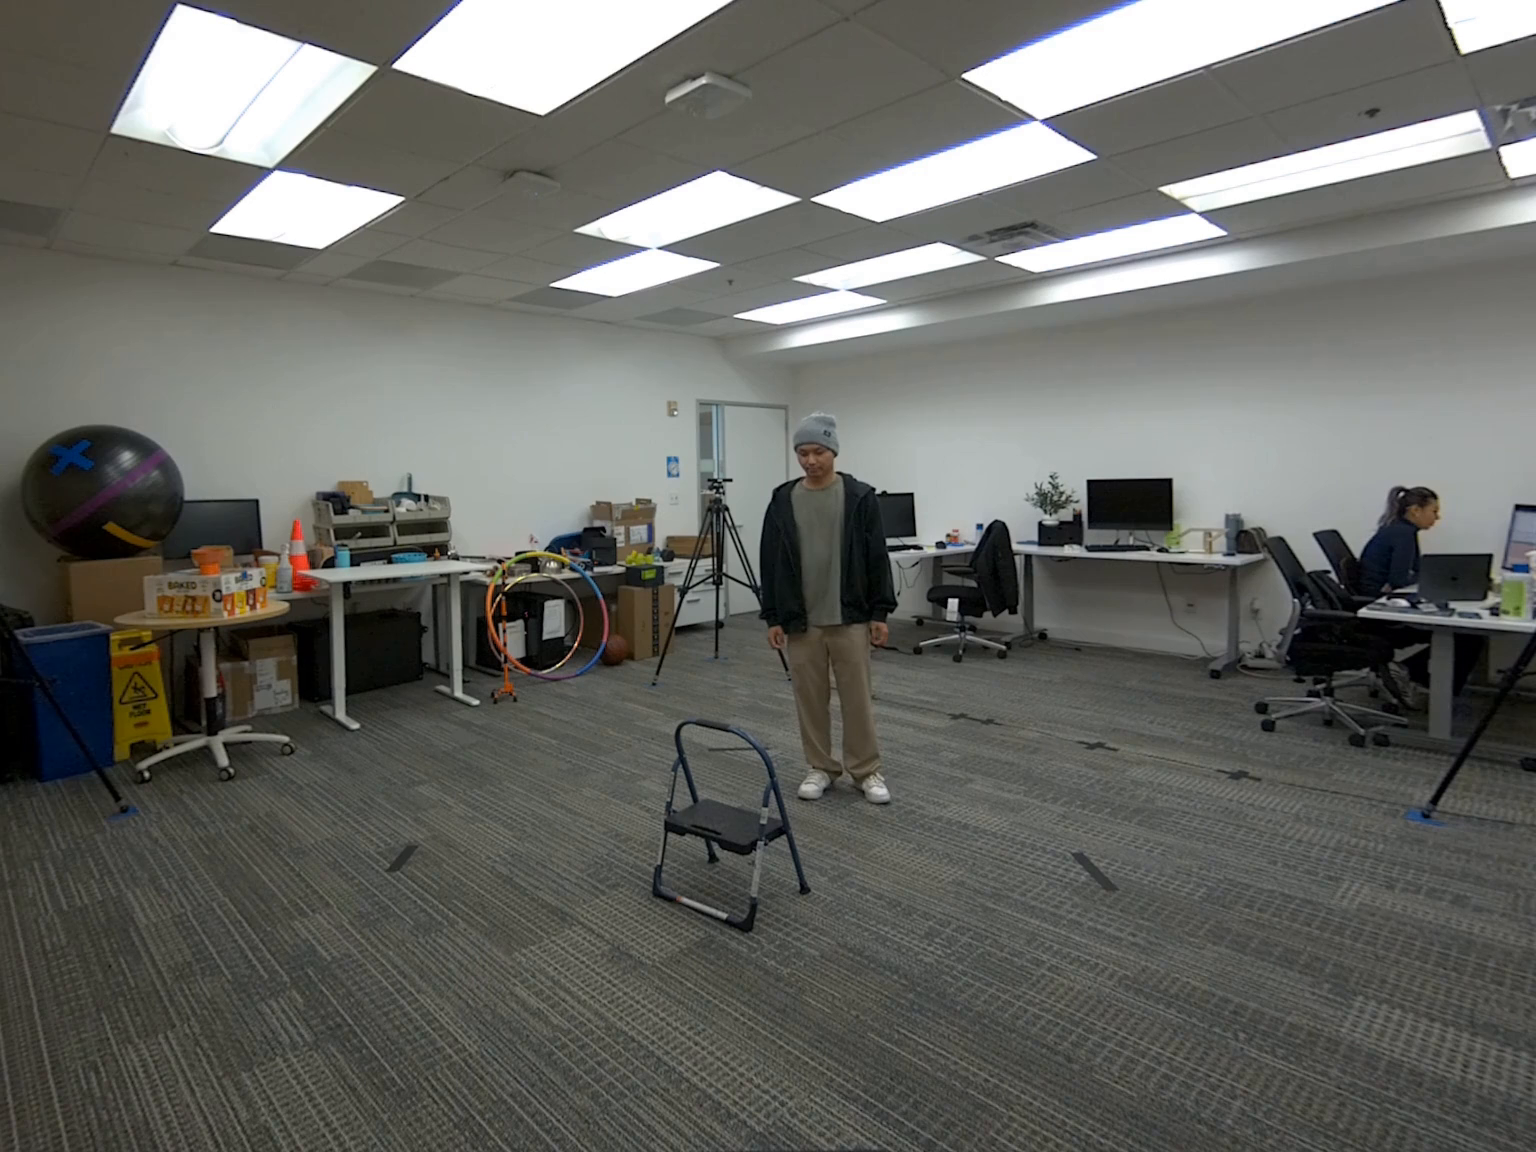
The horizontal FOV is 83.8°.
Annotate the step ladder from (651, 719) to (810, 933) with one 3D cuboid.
[{"bbox_3d":[-0.130,0.768,2.870,0.443,0.604,0.340,2,5,36],"label":"step ladder"}]
